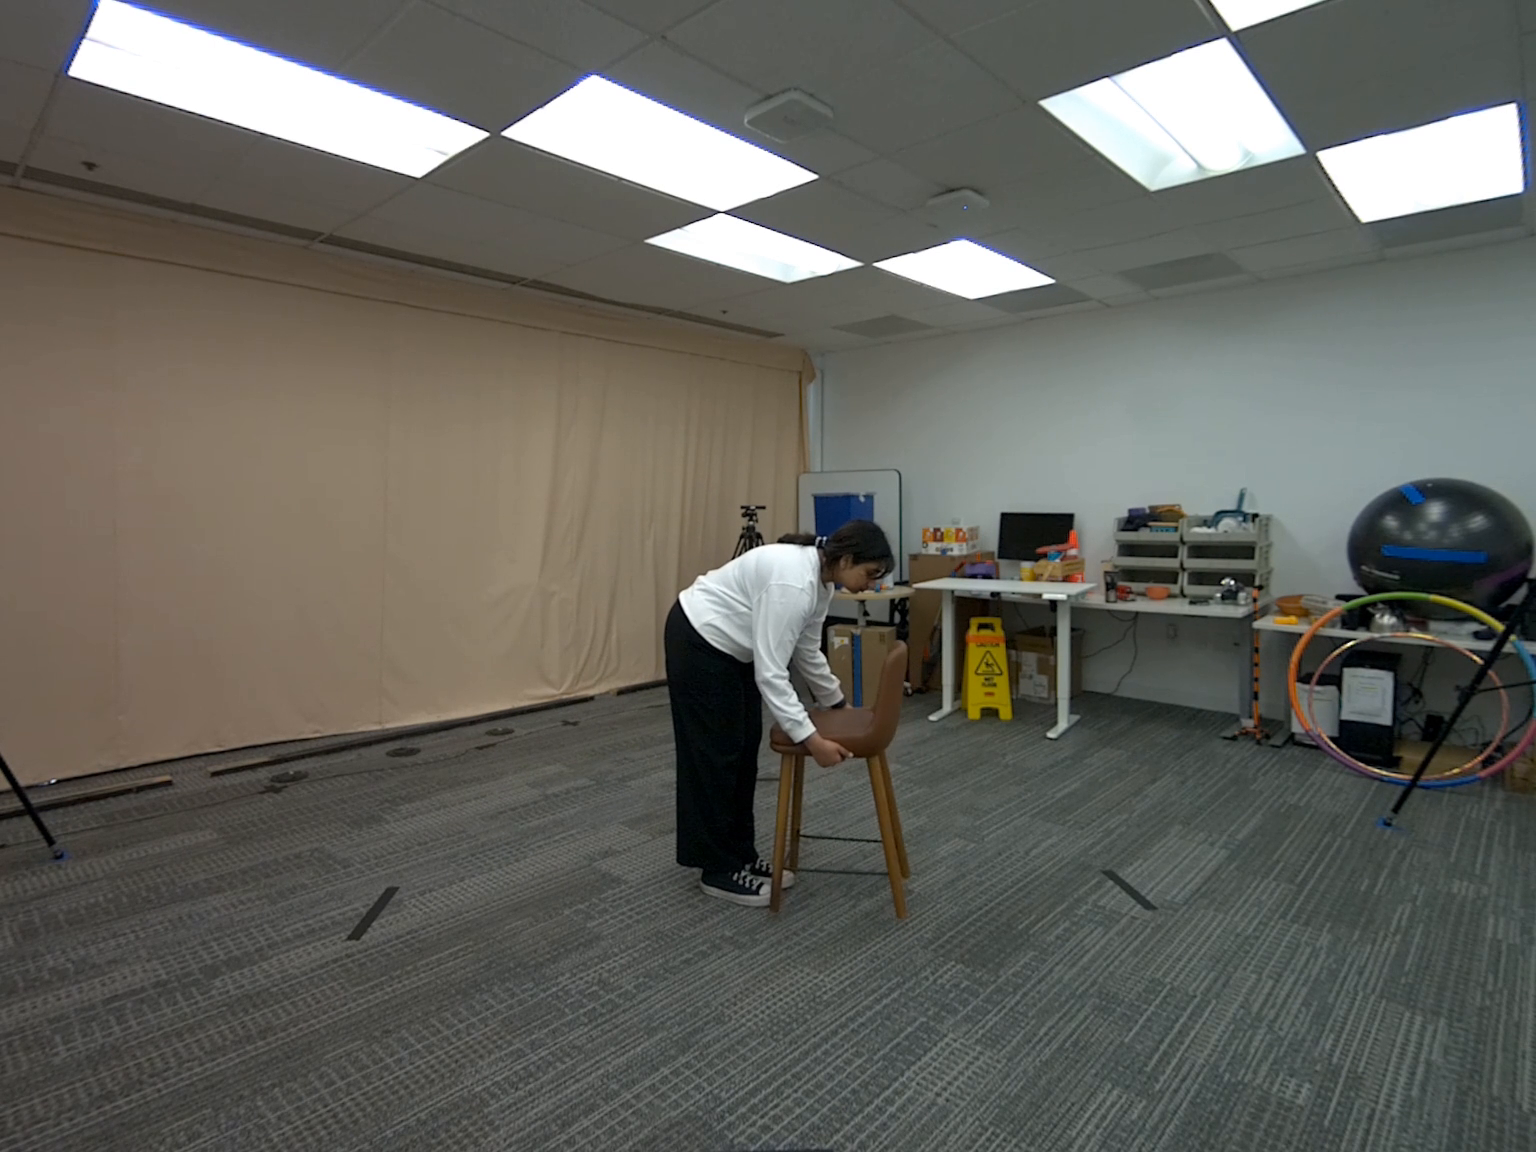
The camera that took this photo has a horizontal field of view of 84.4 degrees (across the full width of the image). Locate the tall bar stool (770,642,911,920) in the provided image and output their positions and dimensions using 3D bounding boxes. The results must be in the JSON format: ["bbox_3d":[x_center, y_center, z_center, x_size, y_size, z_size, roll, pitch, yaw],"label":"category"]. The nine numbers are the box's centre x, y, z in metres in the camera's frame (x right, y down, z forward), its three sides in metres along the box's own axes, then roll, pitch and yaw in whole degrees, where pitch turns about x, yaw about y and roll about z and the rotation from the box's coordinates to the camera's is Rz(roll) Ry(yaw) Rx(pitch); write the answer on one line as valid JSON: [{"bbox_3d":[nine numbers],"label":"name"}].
[{"bbox_3d":[0.262,0.680,2.967,0.475,0.890,0.449,-1,0,14],"label":"tall bar stool"}]
